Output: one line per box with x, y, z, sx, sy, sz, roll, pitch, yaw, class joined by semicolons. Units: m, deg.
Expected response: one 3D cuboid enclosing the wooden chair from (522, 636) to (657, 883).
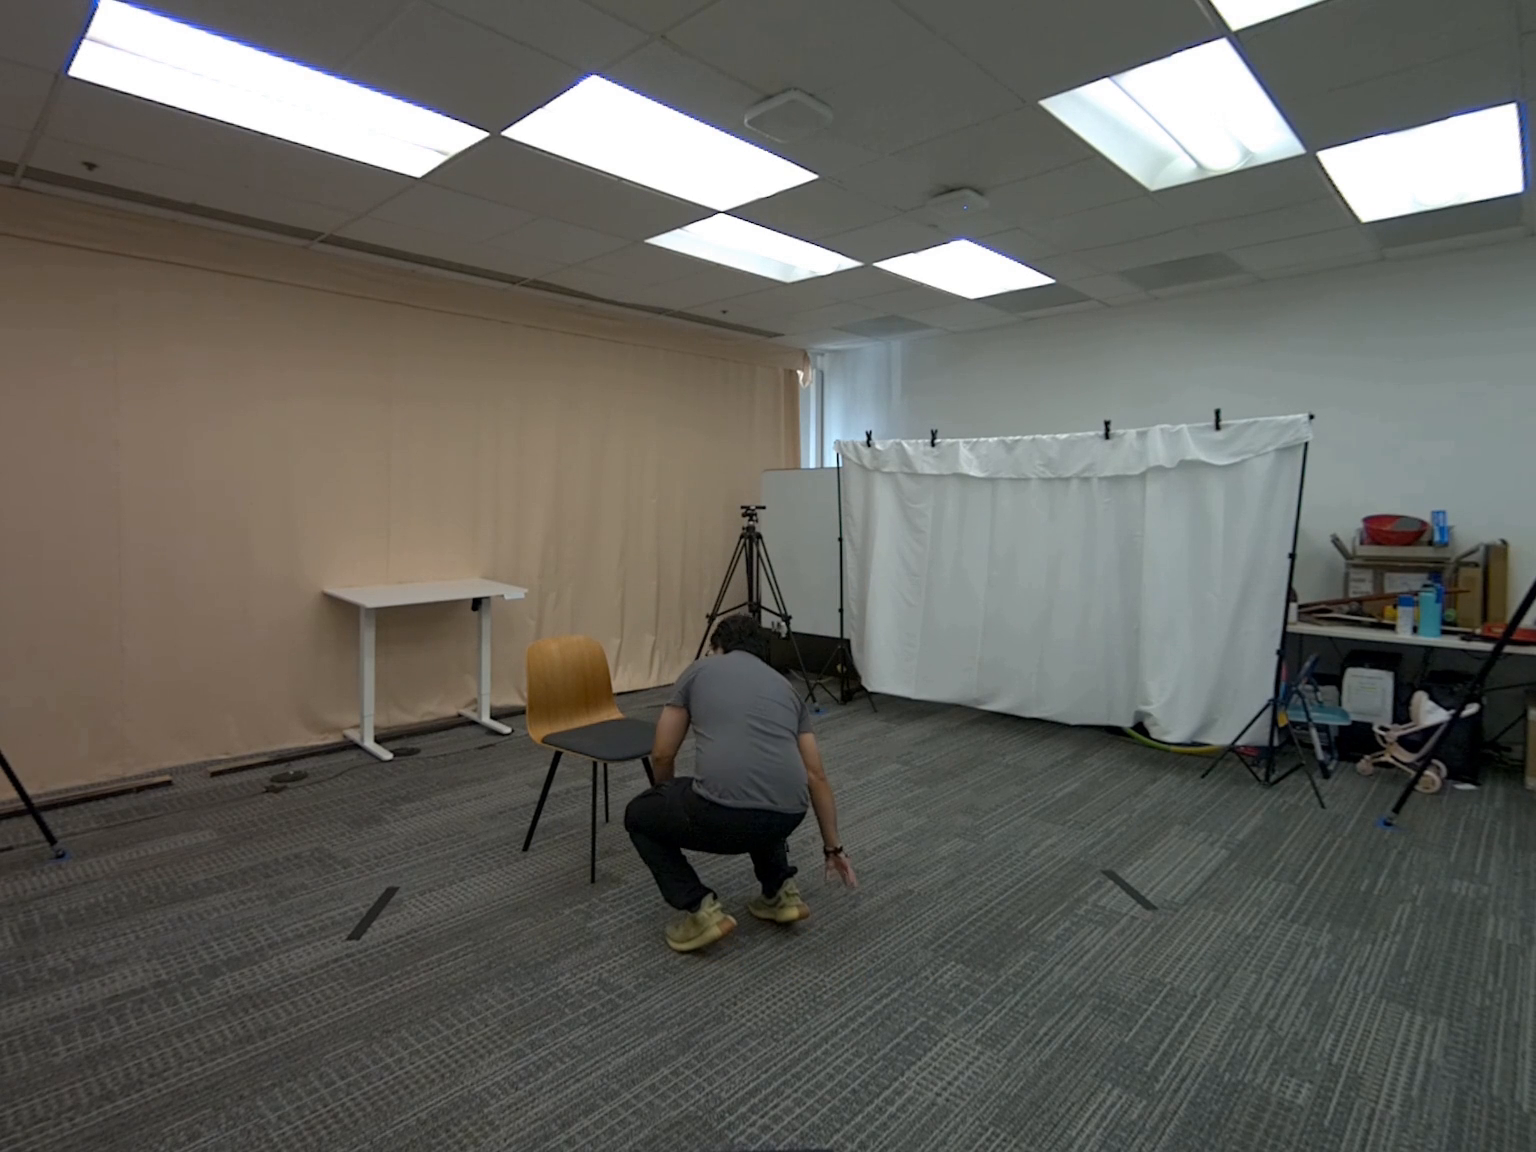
-0.679;0.688;3.393;0.539;0.877;0.463;-4;0;42;wooden chair
